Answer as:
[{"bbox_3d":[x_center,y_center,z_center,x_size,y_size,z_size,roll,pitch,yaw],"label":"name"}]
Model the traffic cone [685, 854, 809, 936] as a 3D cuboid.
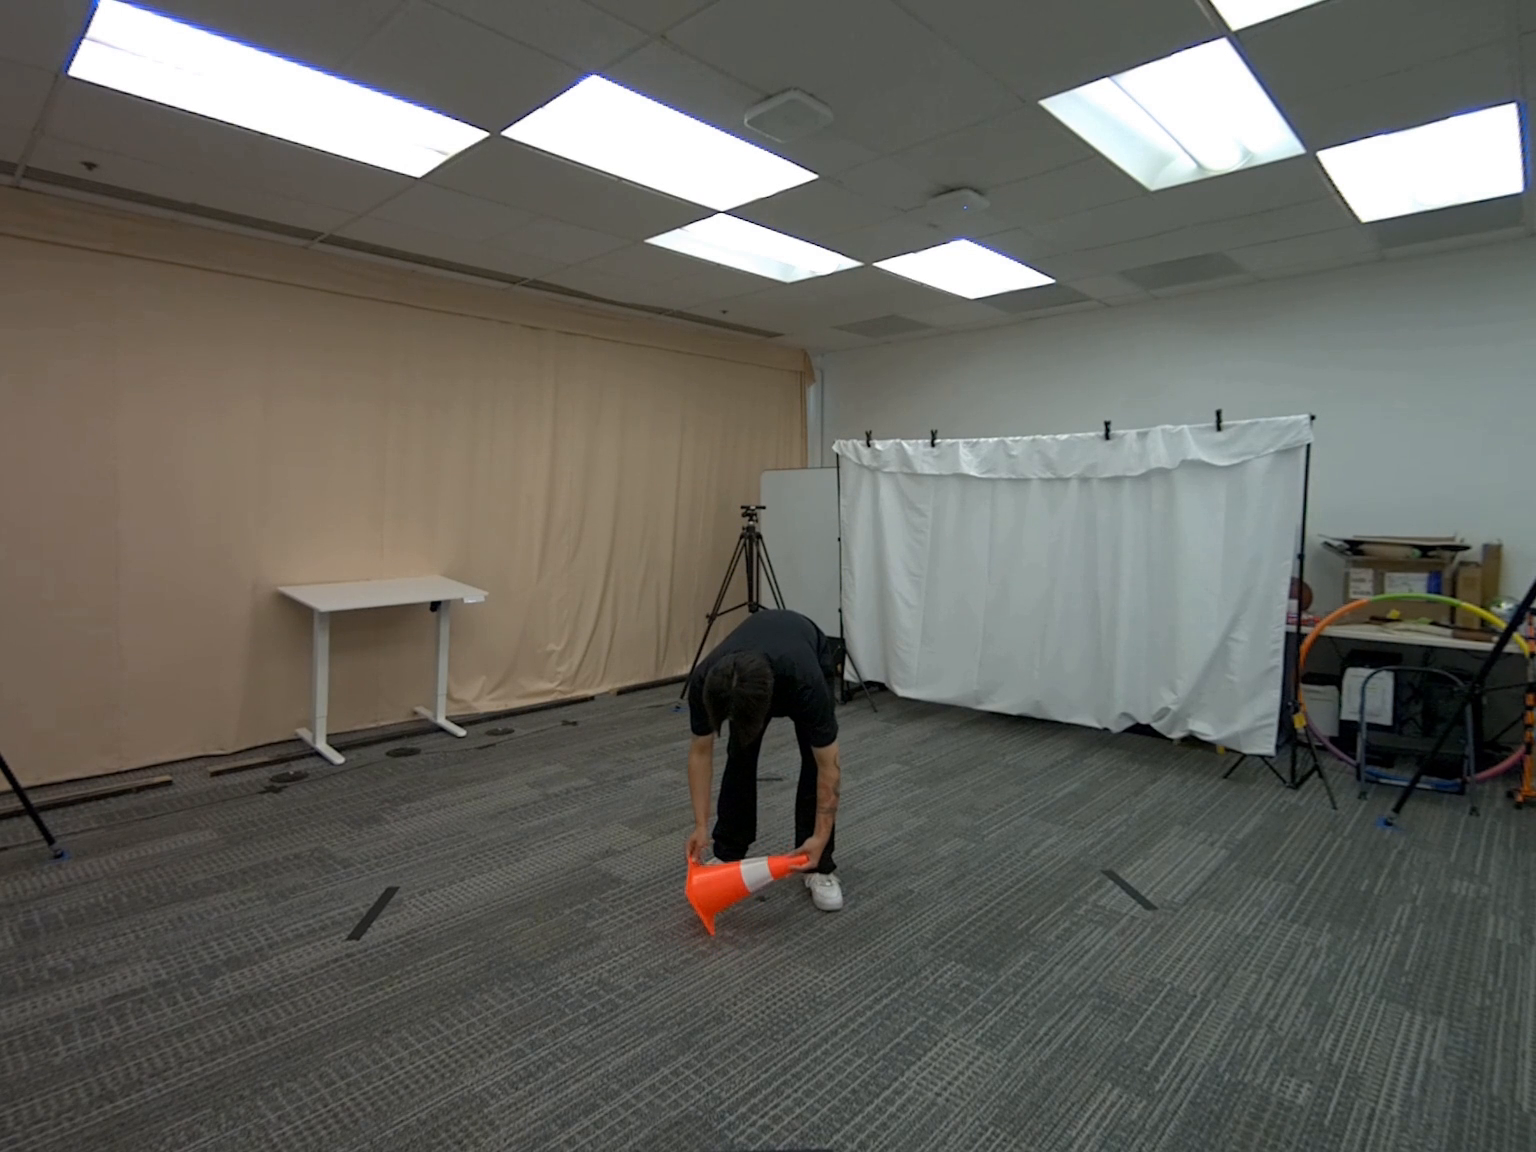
[{"bbox_3d":[-0.055,0.967,2.738,0.386,0.201,0.206,-24,21,10],"label":"traffic cone"}]
